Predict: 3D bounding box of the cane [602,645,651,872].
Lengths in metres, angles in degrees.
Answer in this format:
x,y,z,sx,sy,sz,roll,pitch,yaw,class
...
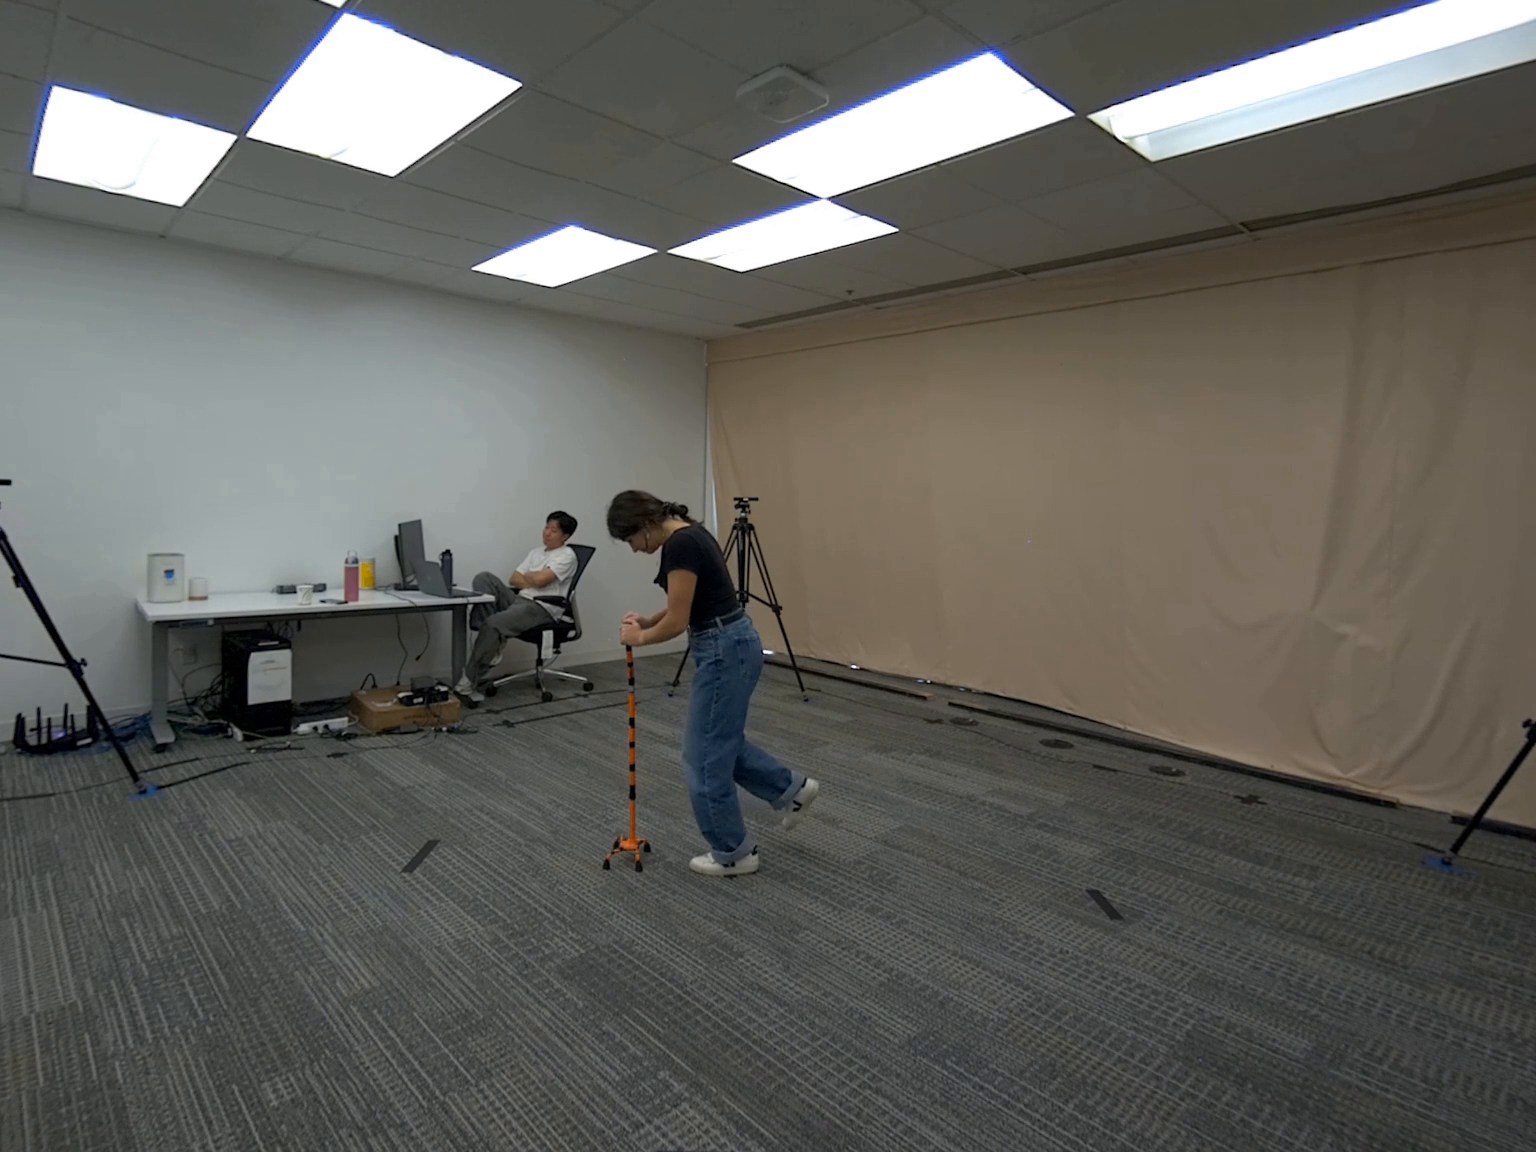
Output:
x,y,z,sx,sy,sz,roll,pitch,yaw,class
-0.537,0.630,3.208,0.152,0.906,0.206,1,3,3,cane
